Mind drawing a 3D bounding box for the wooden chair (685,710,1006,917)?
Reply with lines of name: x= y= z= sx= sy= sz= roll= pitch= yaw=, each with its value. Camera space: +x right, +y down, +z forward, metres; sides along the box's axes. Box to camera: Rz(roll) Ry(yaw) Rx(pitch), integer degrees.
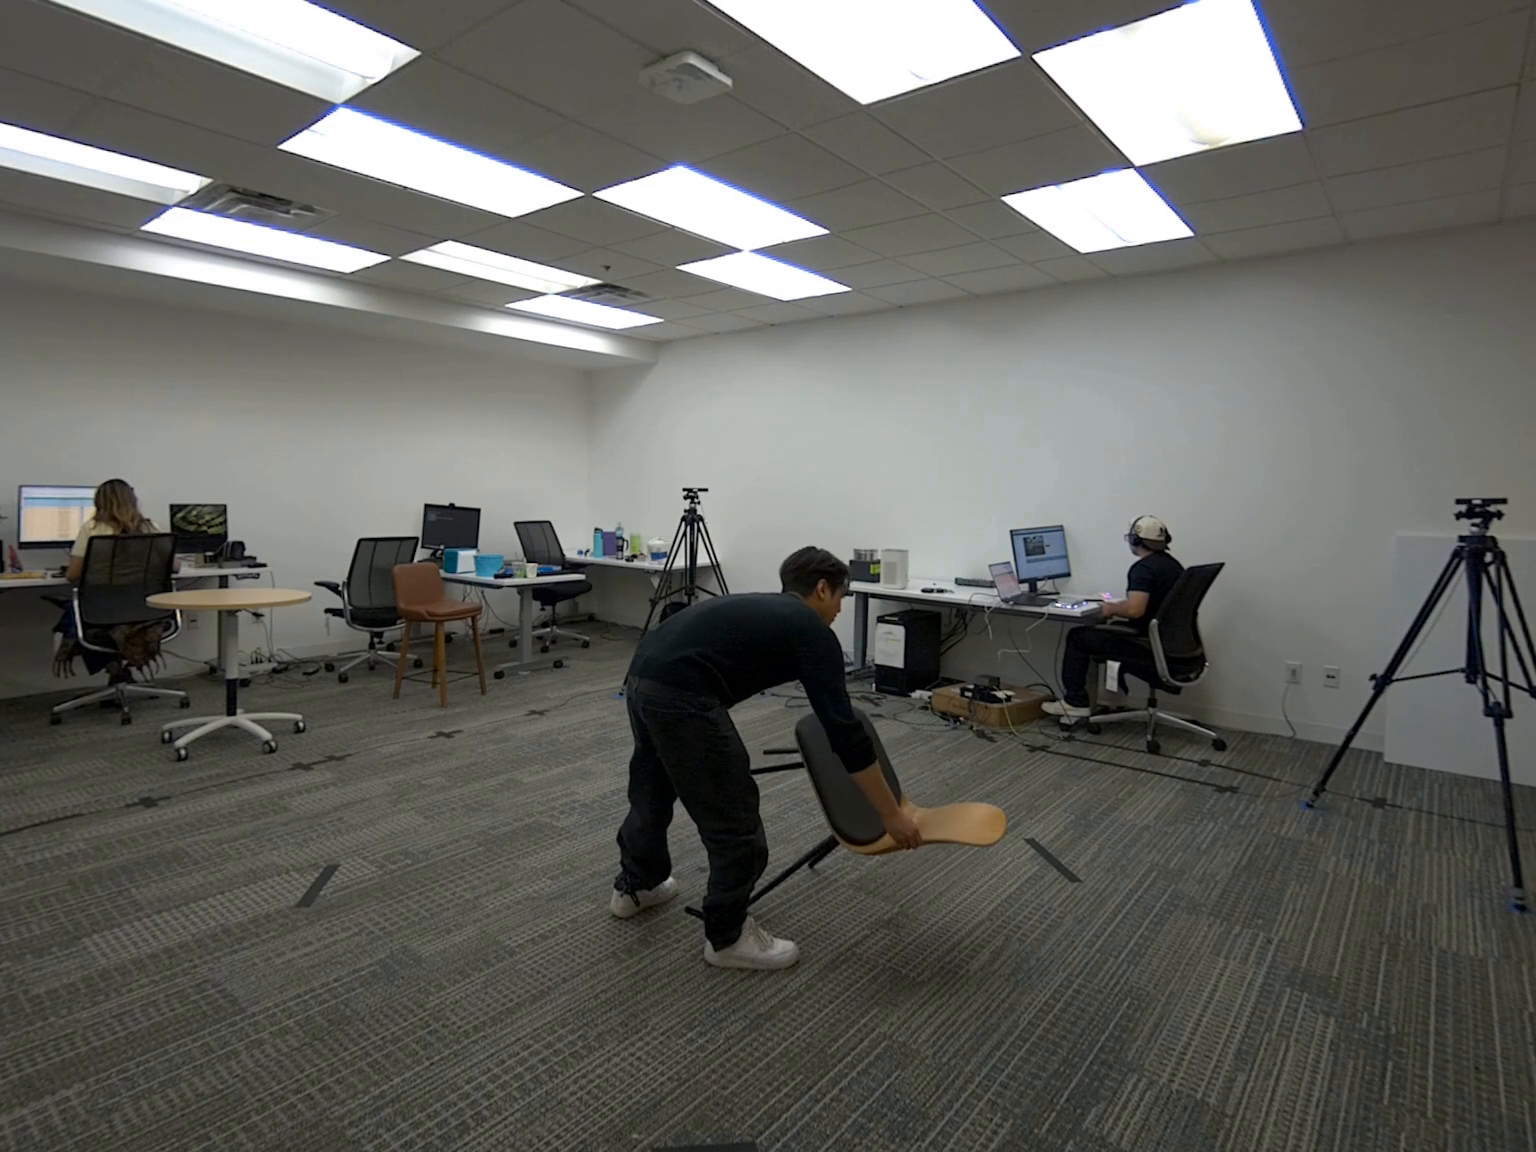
wooden chair: x=0.251 y=0.695 z=2.798 sx=0.890 sy=0.531 sz=0.464 roll=-26 pitch=-14 yaw=34
